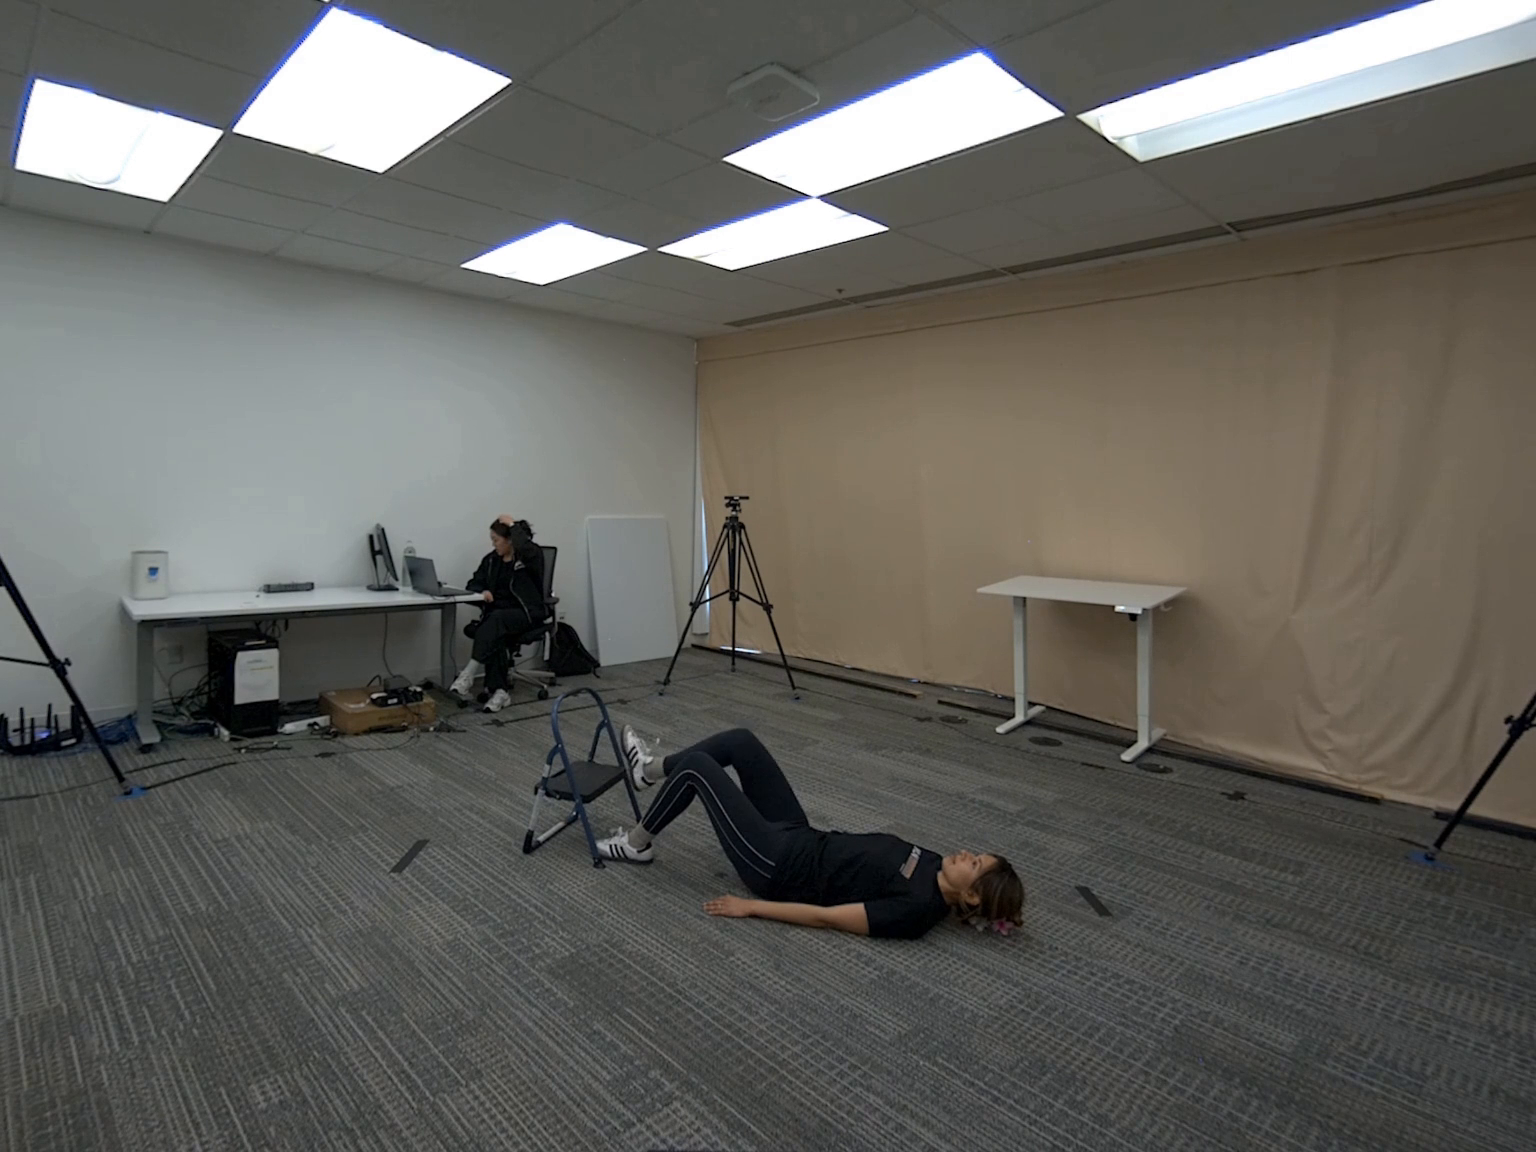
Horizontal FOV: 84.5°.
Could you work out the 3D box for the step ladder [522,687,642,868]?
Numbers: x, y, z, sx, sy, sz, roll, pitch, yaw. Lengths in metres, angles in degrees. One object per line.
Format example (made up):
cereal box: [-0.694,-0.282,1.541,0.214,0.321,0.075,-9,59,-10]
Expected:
step ladder: [-0.725,0.761,3.373,0.354,0.604,0.426,2,4,16]
